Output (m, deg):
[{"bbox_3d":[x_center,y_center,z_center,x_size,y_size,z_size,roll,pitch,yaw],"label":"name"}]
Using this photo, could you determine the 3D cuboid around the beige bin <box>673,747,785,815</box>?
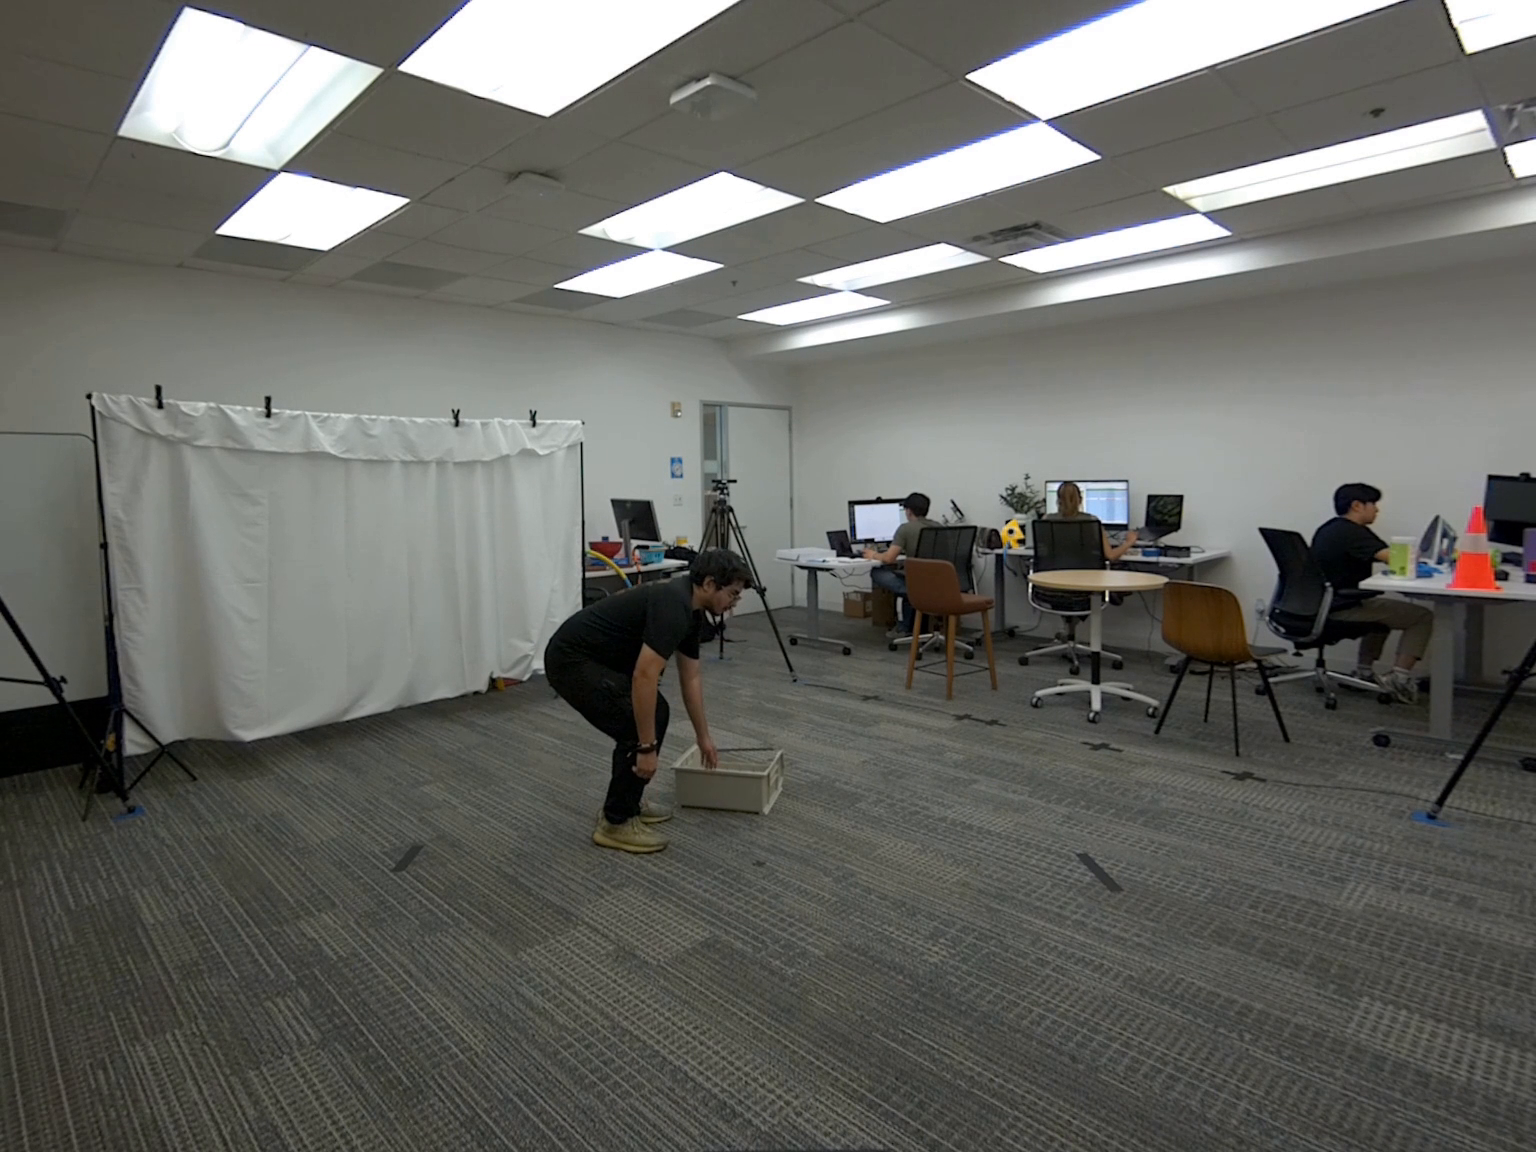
[{"bbox_3d":[-0.169,0.887,3.783,0.429,0.188,0.374,1,7,15],"label":"beige bin"}]
